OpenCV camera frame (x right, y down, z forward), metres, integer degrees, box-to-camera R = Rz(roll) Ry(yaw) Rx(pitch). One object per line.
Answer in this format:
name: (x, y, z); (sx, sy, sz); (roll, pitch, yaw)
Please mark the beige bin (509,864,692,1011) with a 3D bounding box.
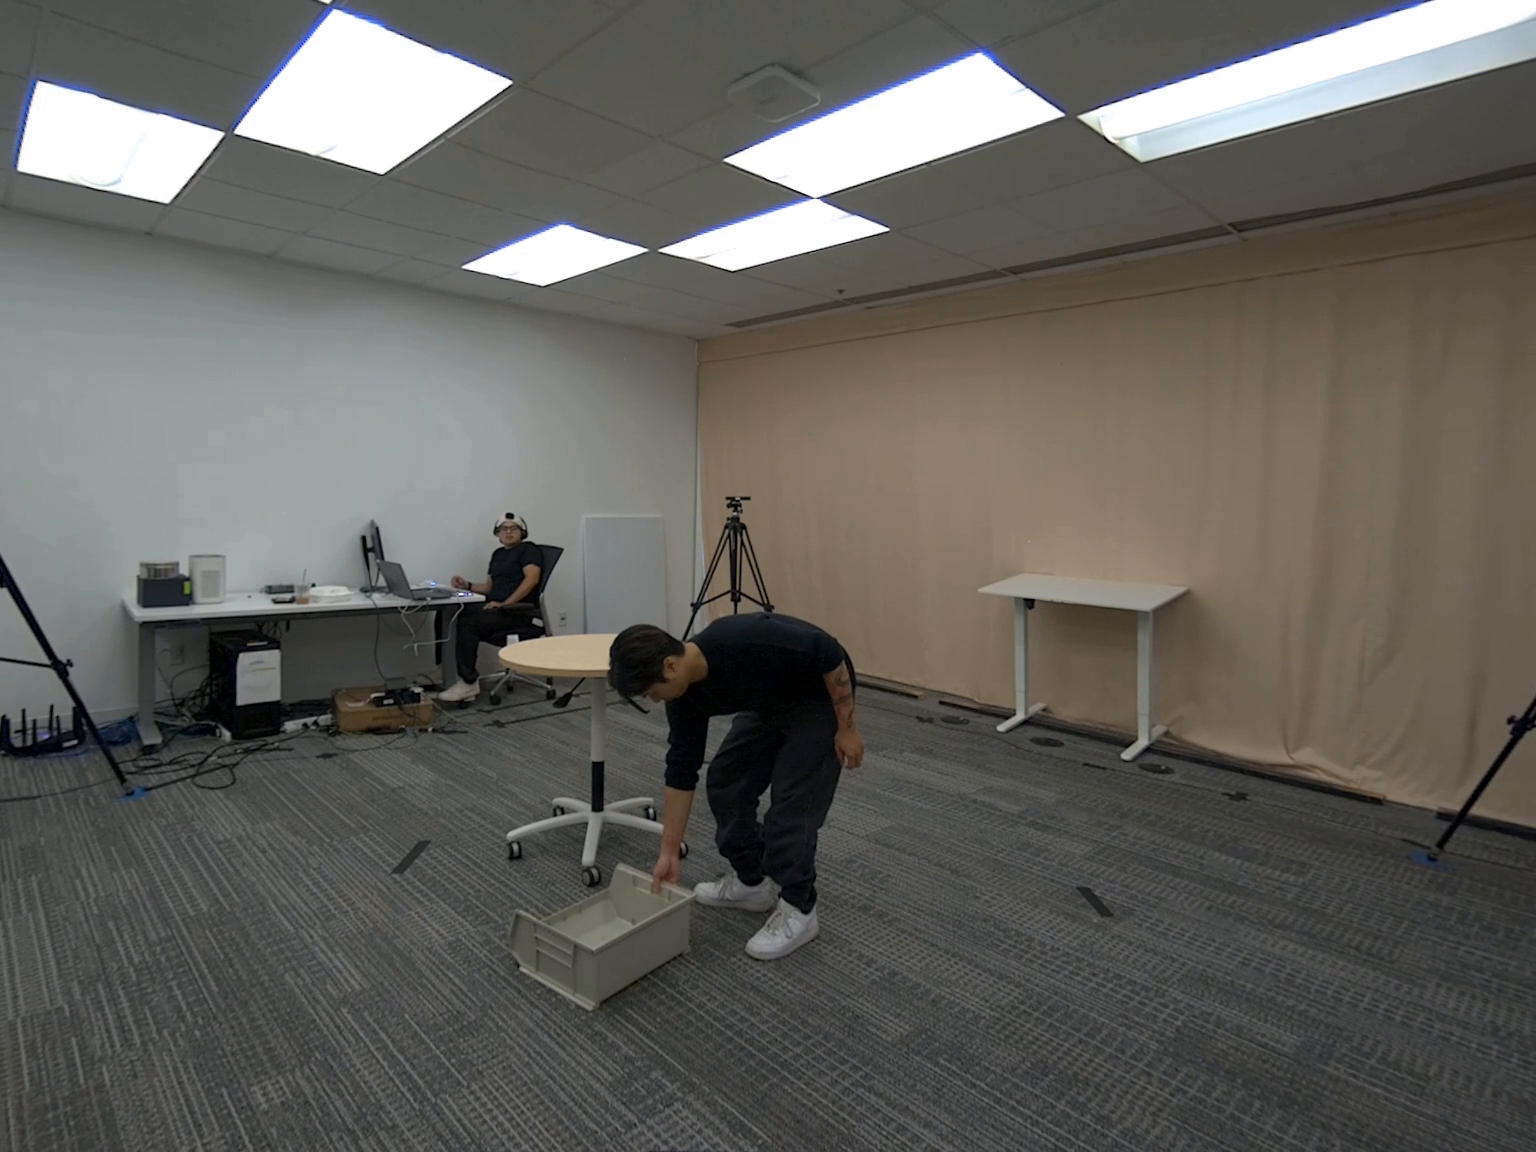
beige bin: (-0.500, 1.065, 2.524); (0.387, 0.188, 0.413); (6, 6, 36)
